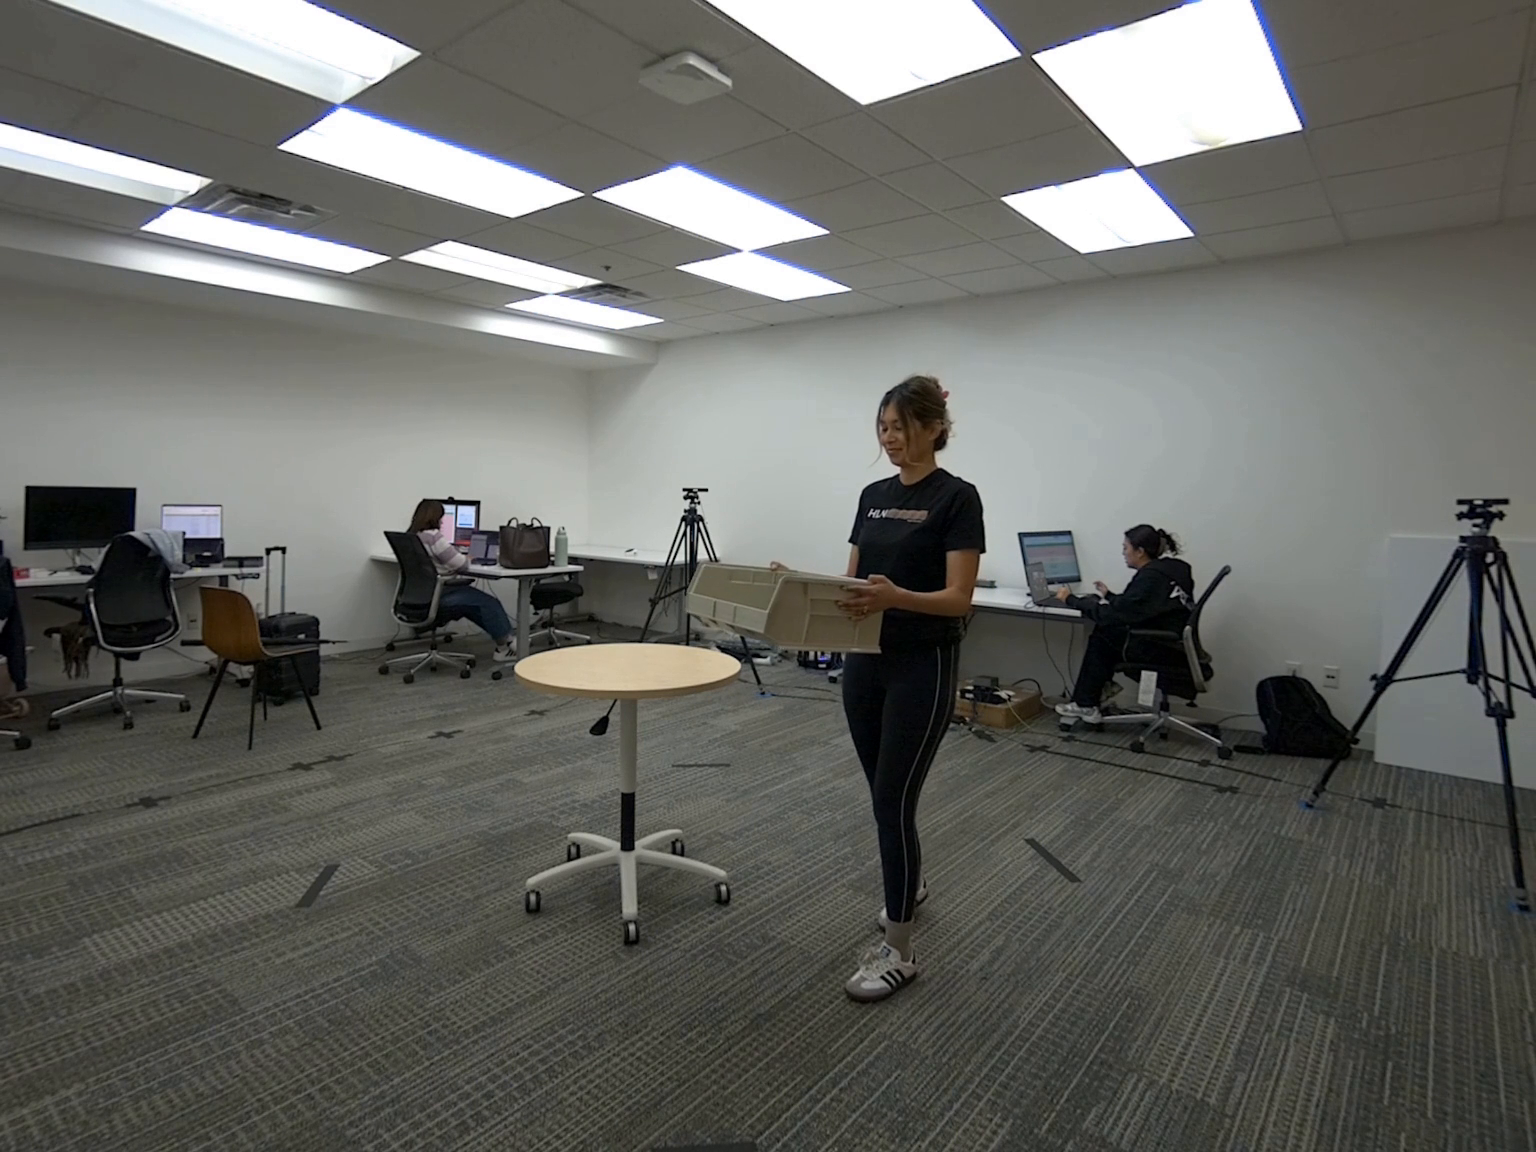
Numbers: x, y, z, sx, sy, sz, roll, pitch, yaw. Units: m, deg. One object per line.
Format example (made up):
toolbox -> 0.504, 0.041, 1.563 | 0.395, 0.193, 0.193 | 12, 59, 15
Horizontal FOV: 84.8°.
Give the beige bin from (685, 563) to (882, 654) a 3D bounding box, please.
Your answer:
beige bin -> 0.036, 0.082, 2.270 | 0.366, 0.189, 0.435 | 7, 1, -32
